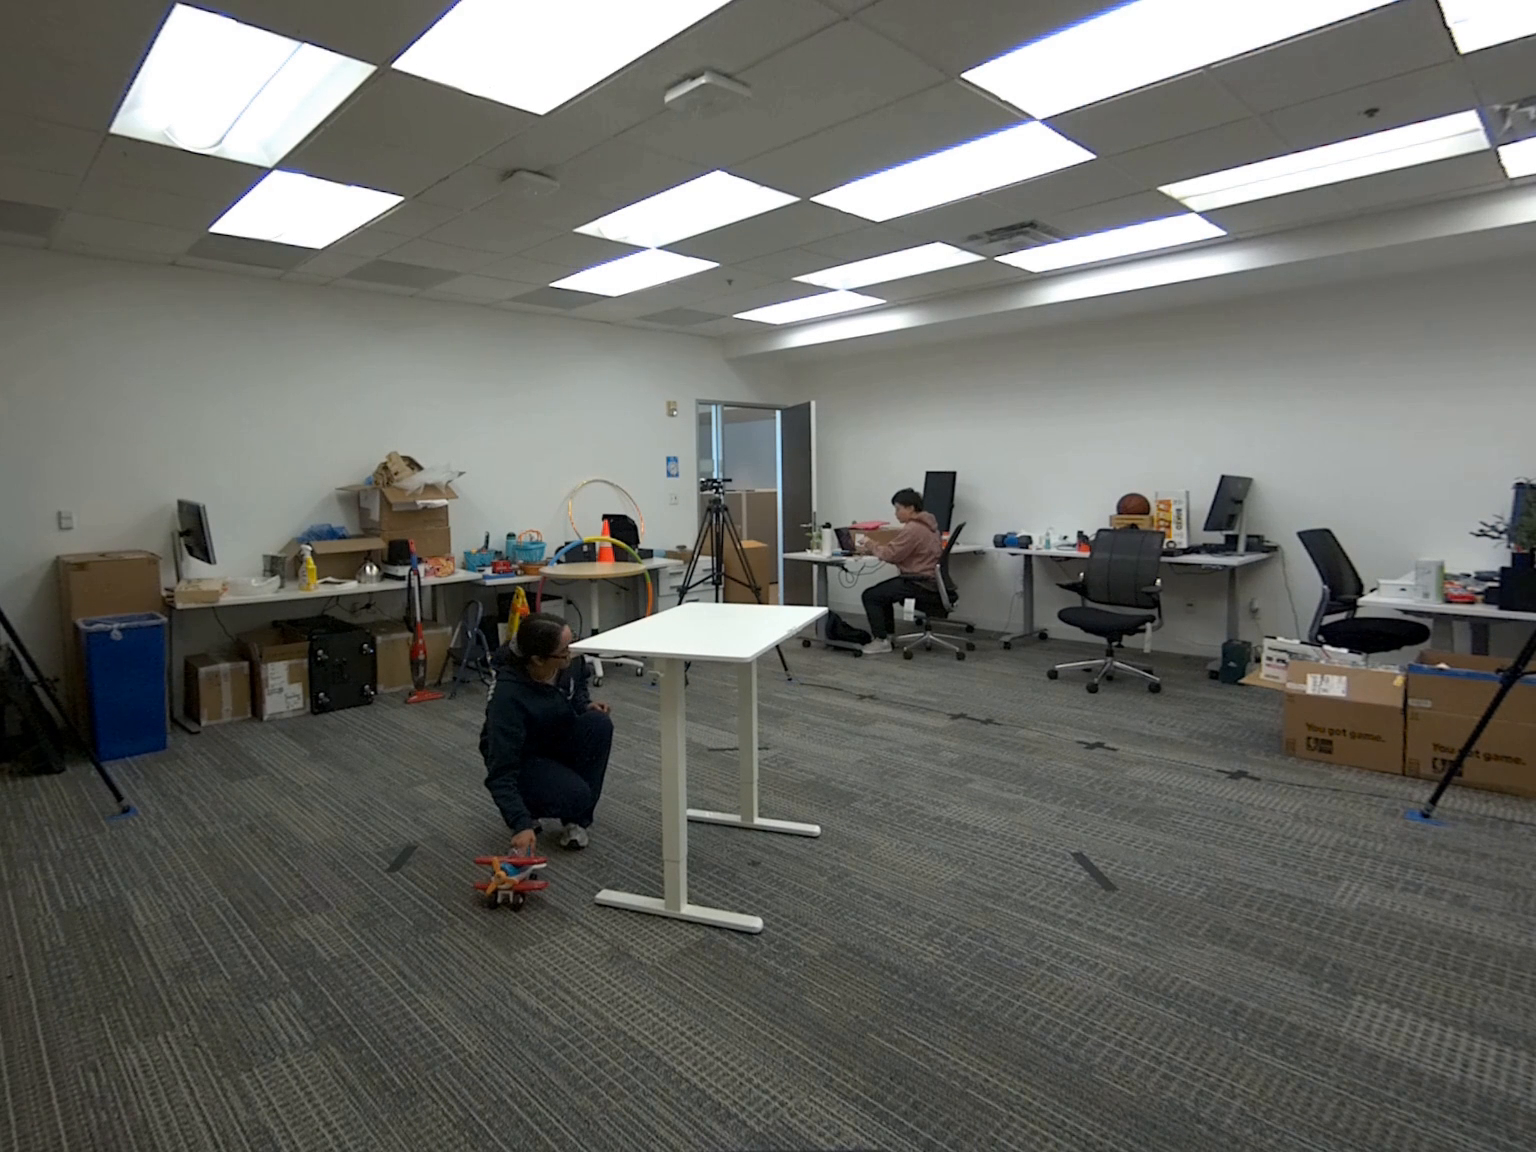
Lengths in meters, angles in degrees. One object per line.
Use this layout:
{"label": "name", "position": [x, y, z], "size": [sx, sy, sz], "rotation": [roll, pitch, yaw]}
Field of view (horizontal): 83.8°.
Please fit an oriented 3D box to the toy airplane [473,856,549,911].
{"label": "toy airplane", "position": [-0.865, 1.016, 2.883], "size": [0.247, 0.156, 0.264], "rotation": [-6, 6, -19]}
